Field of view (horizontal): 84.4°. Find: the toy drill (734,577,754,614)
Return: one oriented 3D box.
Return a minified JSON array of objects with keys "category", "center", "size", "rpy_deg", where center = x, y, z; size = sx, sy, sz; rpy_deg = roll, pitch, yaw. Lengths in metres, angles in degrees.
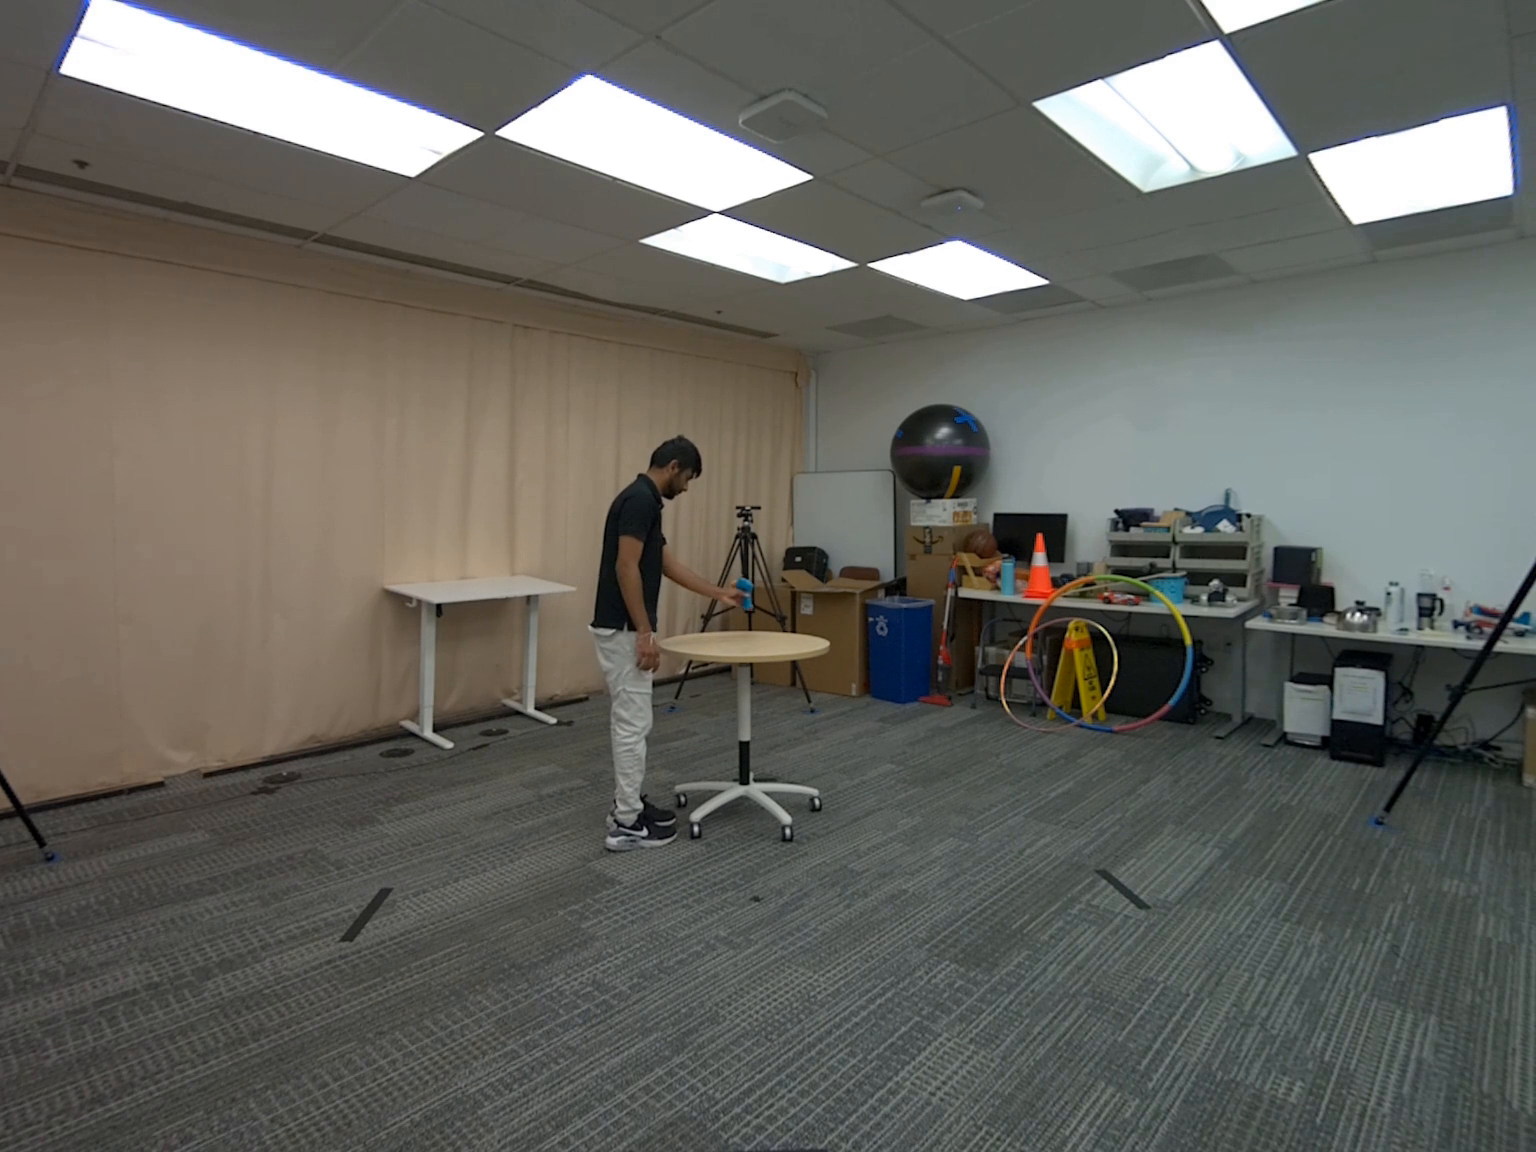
[{"category":"toy drill","center":[-0.135,0.077,3.958],"size":[0.175,0.145,0.059],"rpy_deg":[4,12,45]}]
